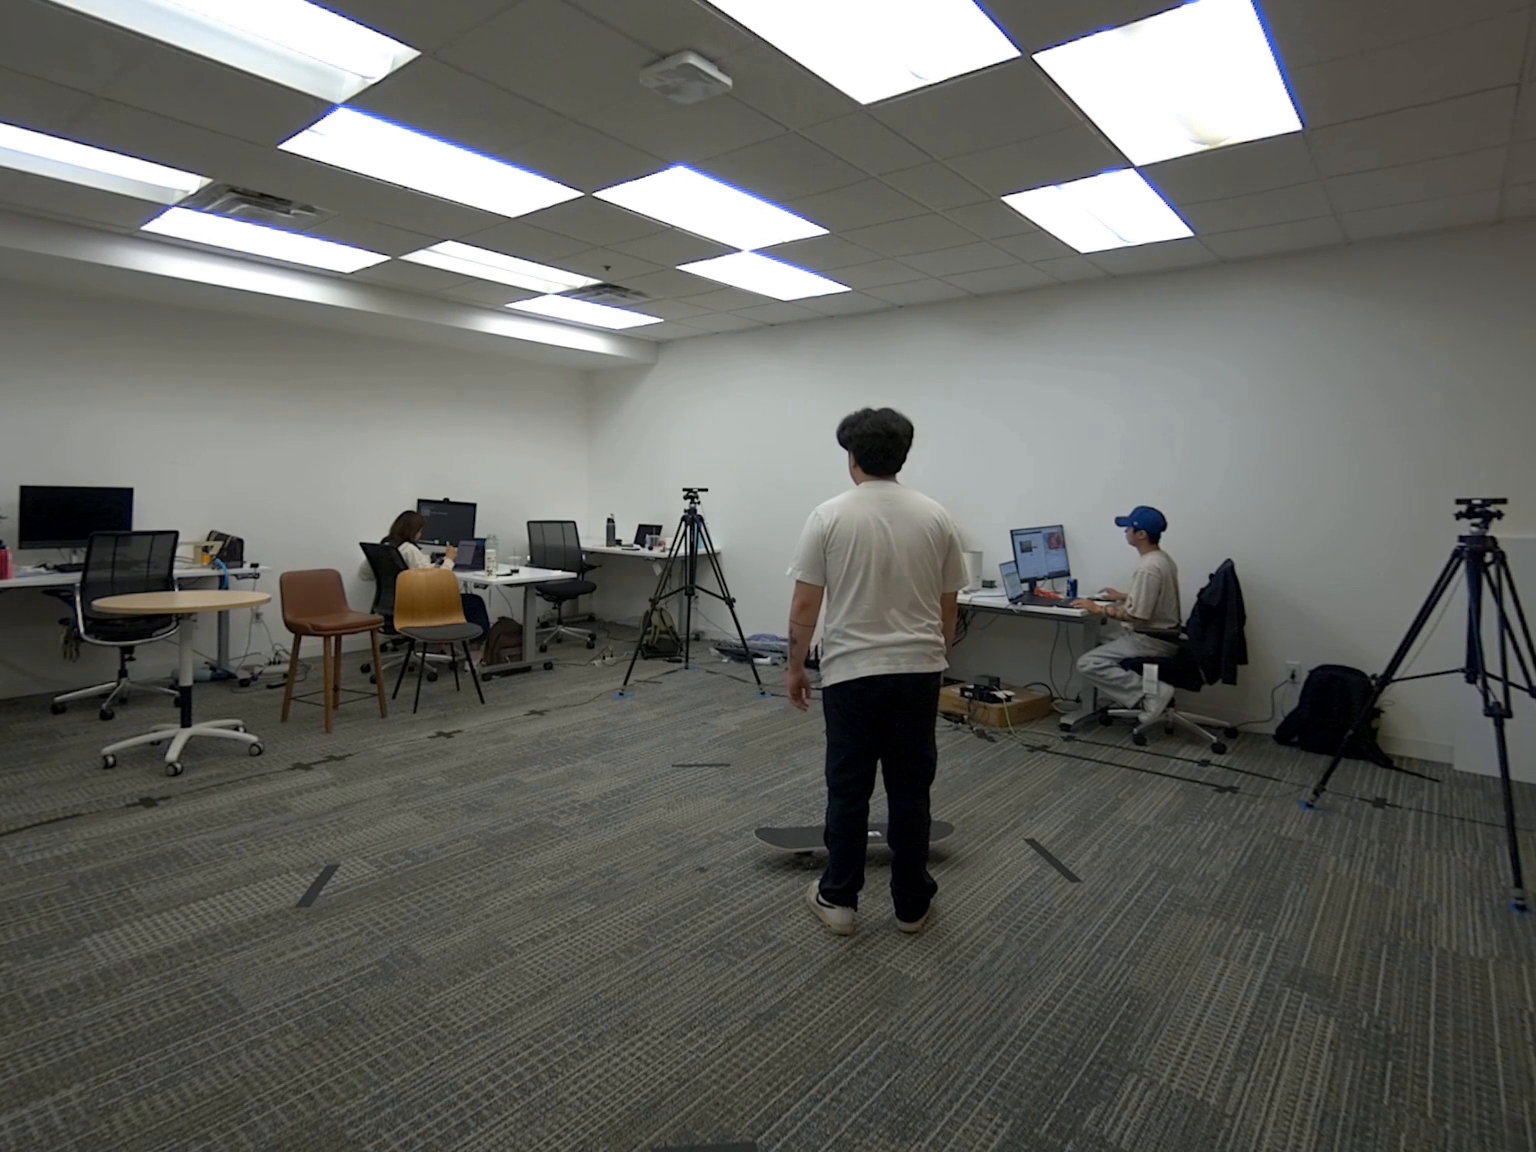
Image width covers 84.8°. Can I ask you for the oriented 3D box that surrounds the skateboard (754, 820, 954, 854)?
[{"bbox_3d":[0.318,1.008,3.236,0.776,0.110,0.196,0,4,-11],"label":"skateboard"}]
